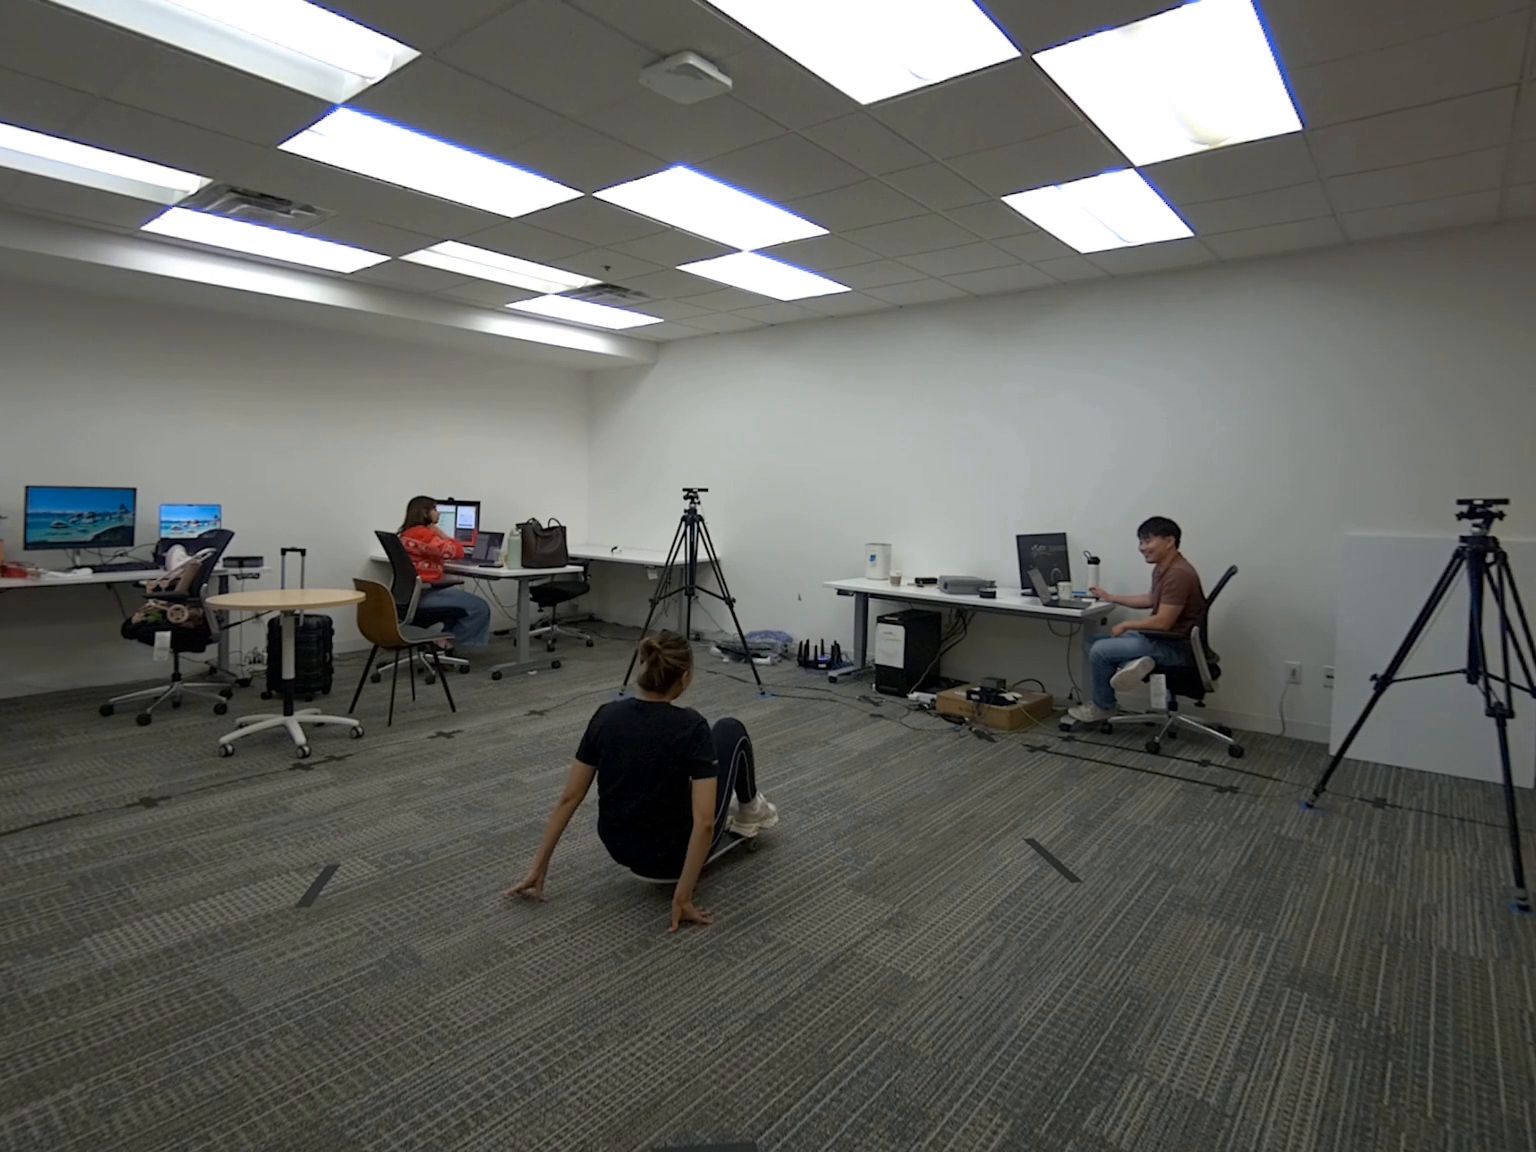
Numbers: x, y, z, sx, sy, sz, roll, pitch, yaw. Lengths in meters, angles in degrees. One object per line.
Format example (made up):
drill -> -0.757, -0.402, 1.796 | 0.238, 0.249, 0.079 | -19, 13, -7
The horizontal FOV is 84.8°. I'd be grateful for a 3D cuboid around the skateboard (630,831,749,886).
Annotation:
skateboard -> -0.237, 1.014, 3.139 | 0.199, 0.110, 0.765 | 6, 7, 30
